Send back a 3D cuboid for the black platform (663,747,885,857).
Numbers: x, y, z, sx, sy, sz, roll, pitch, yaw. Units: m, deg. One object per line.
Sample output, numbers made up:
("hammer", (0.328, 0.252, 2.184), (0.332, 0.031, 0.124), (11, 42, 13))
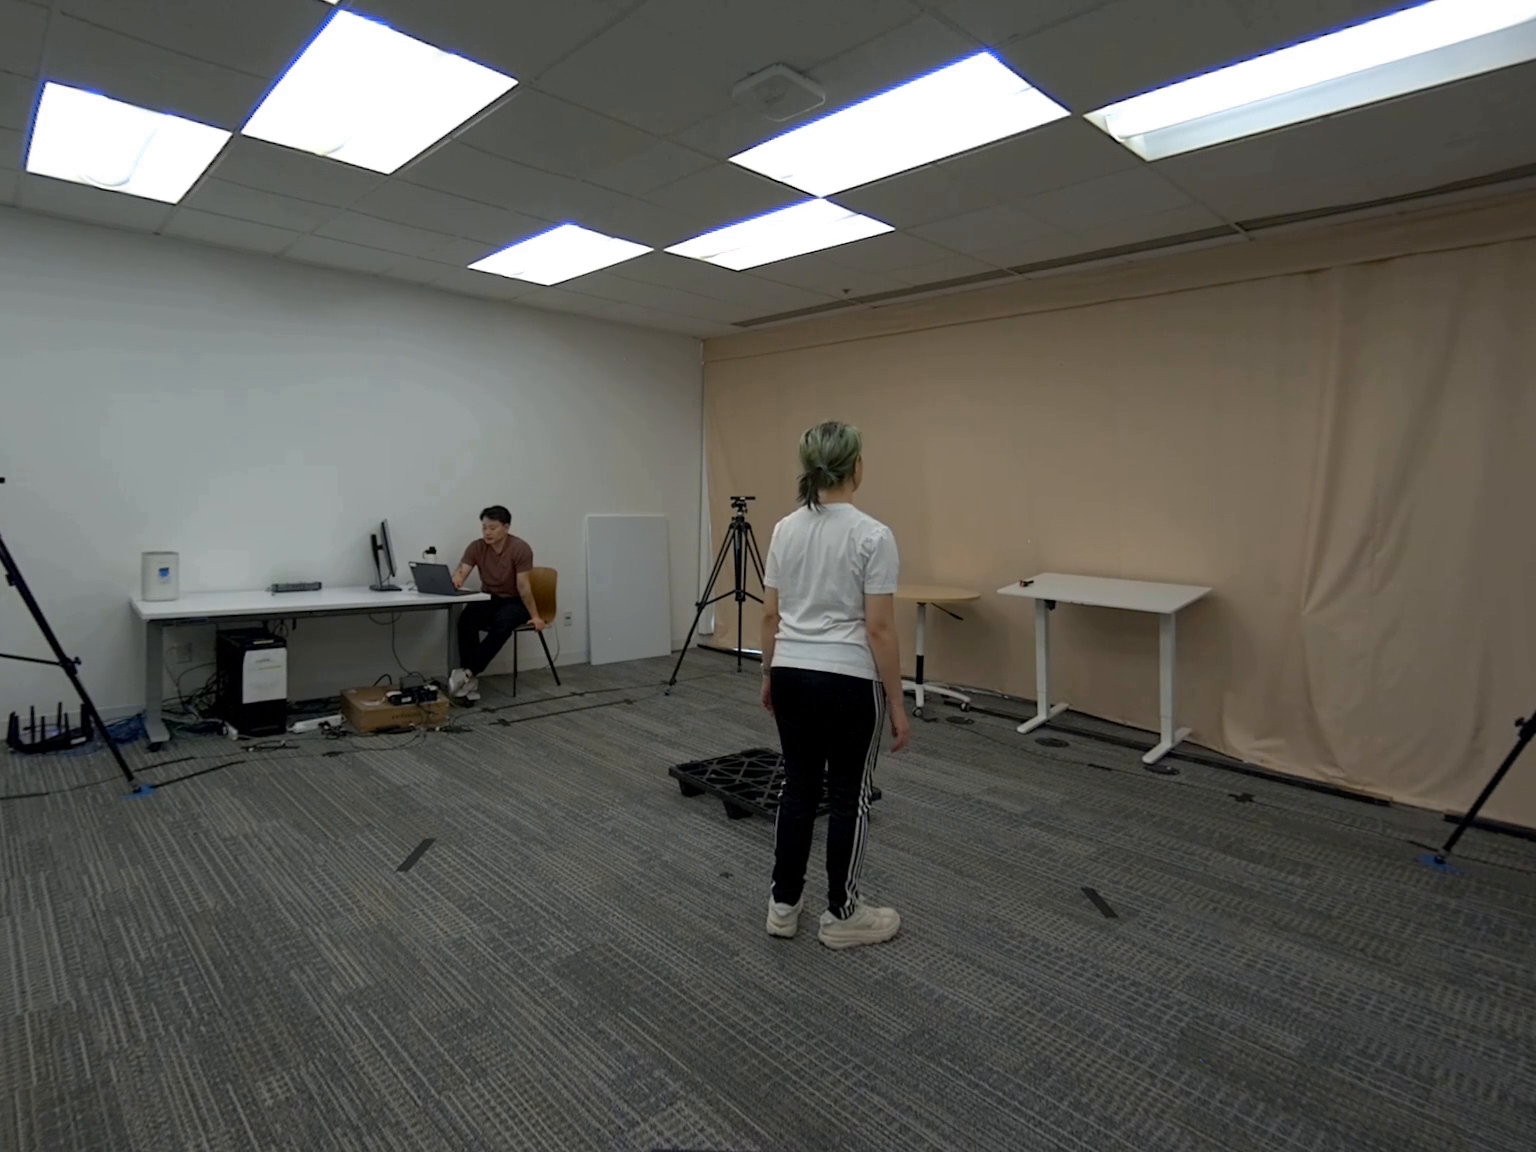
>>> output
("black platform", (0.007, 0.985, 3.799), (0.591, 0.143, 0.826), (-3, 7, -40))
